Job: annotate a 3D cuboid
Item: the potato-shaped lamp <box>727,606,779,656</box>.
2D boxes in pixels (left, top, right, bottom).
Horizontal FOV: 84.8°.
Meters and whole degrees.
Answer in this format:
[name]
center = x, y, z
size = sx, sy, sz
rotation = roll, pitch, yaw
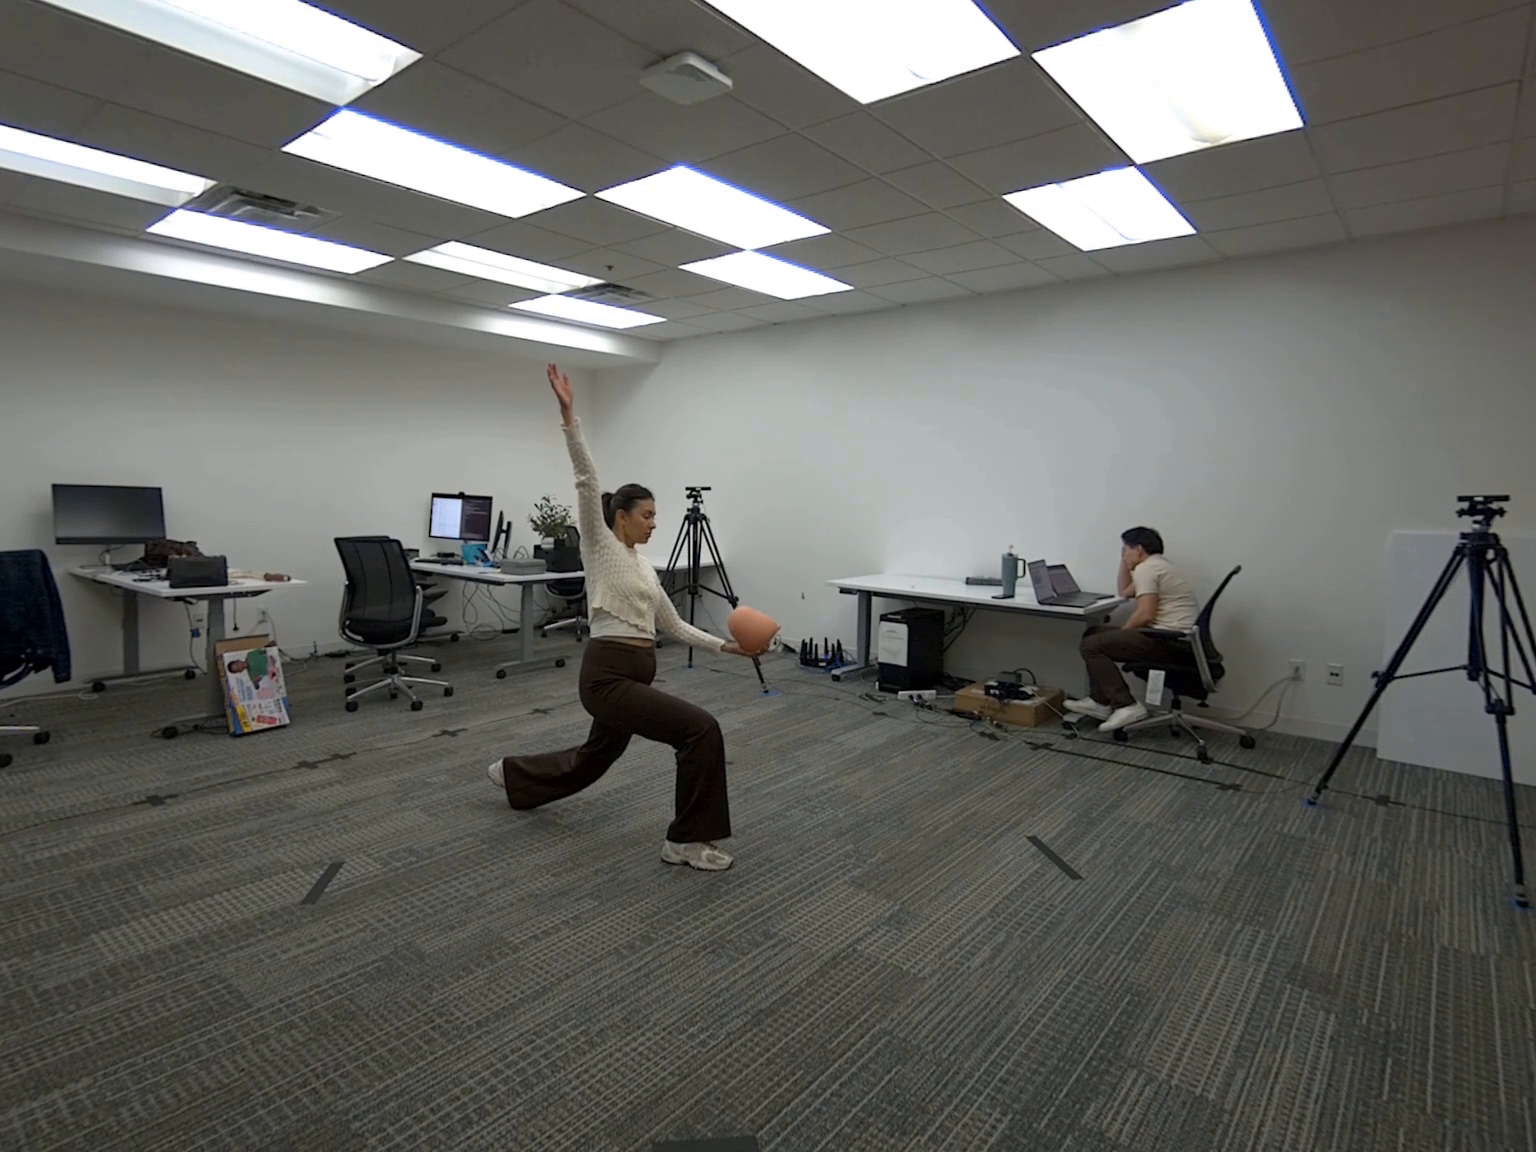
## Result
[potato-shaped lamp]
center = -0.082, 0.211, 3.513
size = 0.201, 0.164, 0.170
rotation = 41, 40, 8
